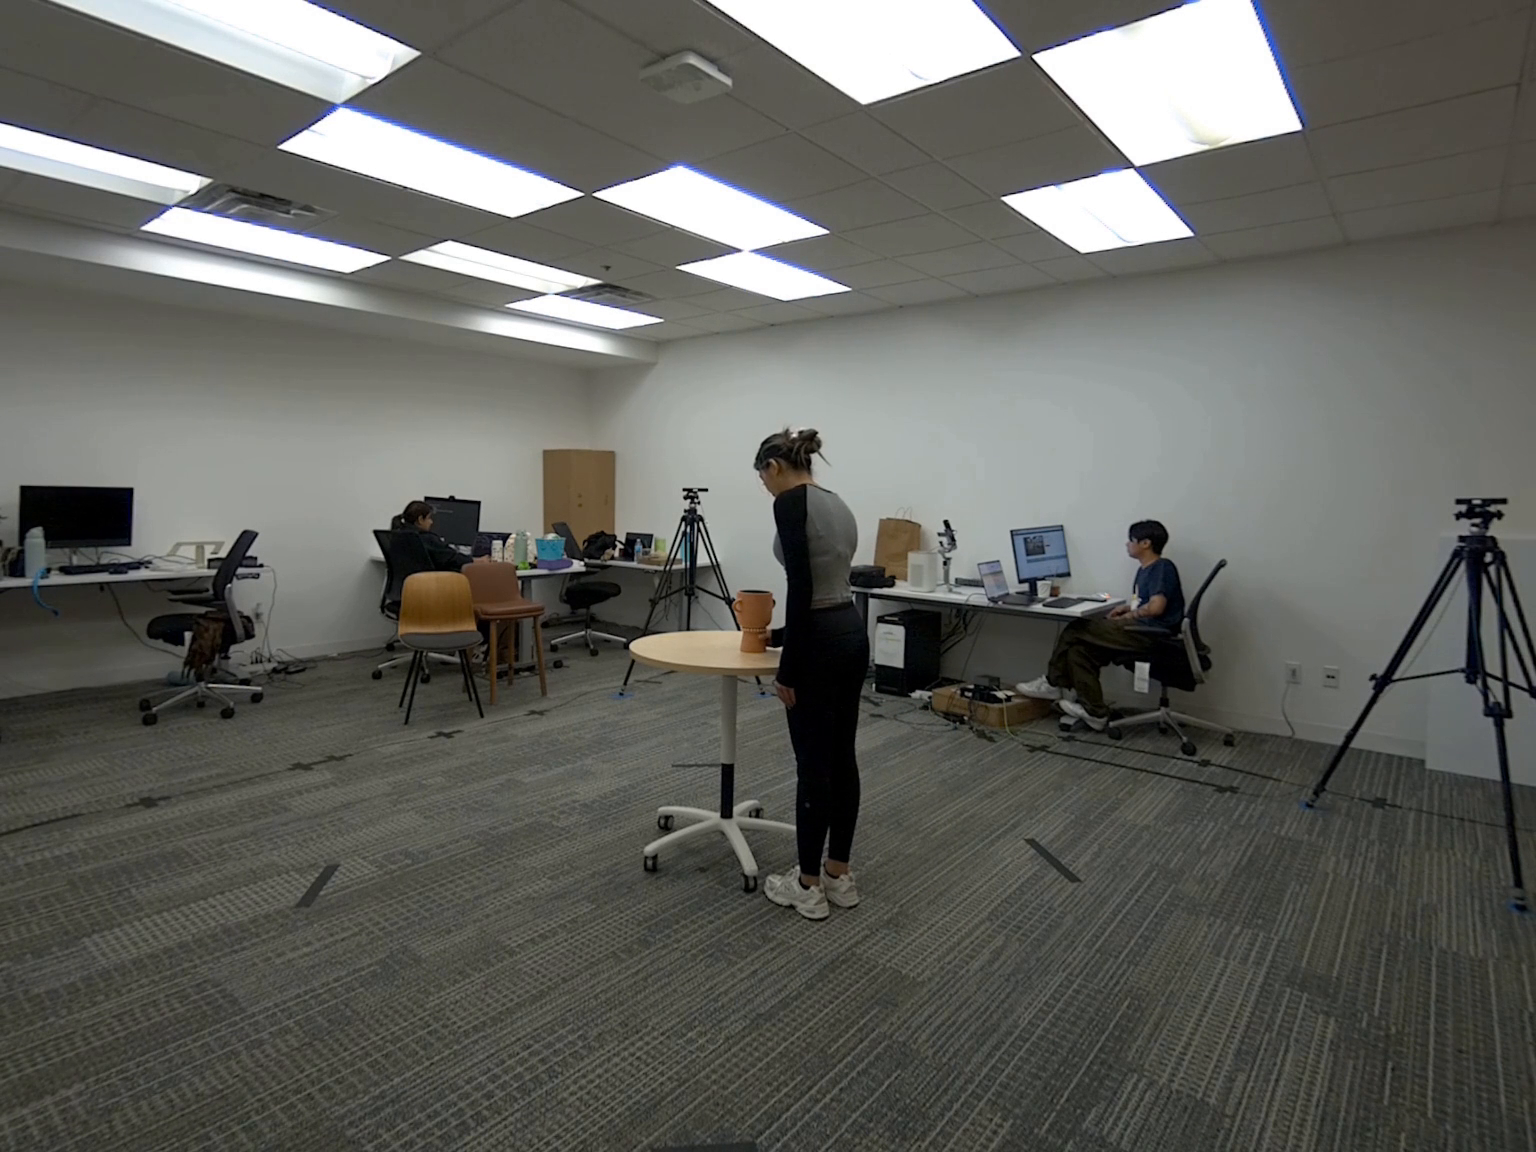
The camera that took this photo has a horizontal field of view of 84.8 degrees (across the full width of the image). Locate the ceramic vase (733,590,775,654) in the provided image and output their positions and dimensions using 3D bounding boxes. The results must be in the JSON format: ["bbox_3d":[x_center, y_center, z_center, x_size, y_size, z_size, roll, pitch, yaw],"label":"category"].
[{"bbox_3d":[-0.056,0.164,3.158,0.159,0.219,0.134,1,3,3],"label":"ceramic vase"}]
